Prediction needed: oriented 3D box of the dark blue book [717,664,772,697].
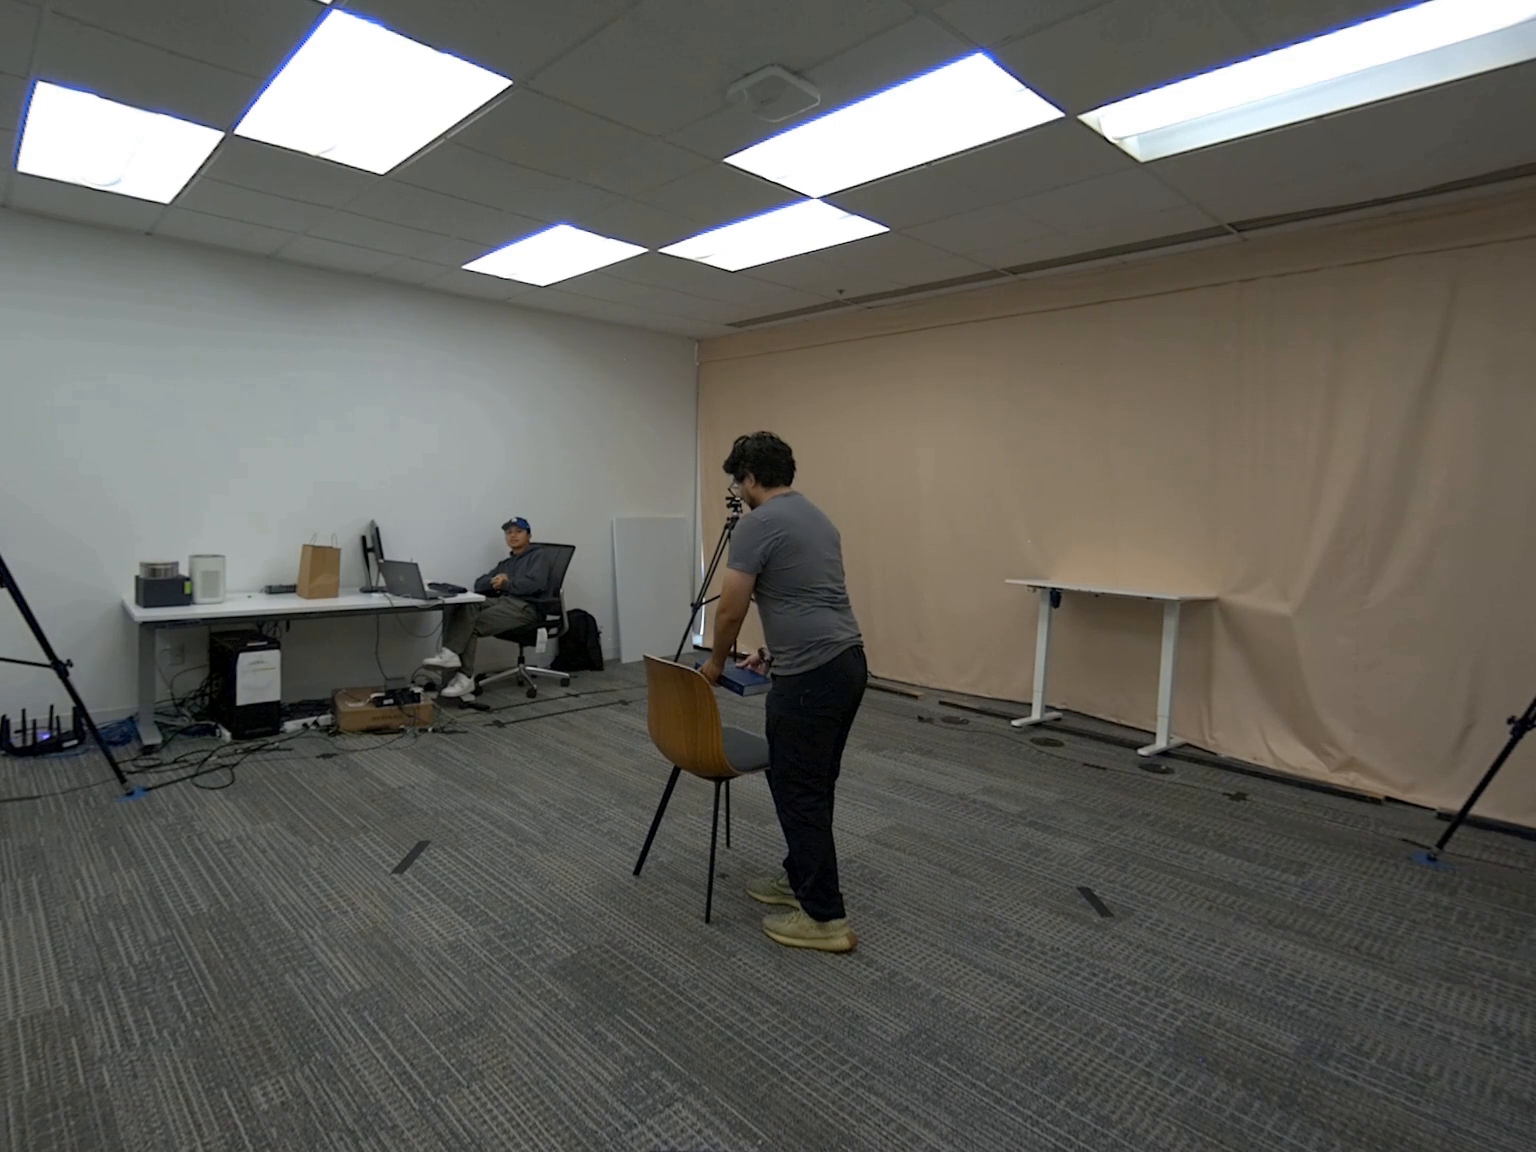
[{"bbox_3d":[-0.111,0.363,3.000,0.252,0.045,0.159,15,10,43],"label":"dark blue book"}]
